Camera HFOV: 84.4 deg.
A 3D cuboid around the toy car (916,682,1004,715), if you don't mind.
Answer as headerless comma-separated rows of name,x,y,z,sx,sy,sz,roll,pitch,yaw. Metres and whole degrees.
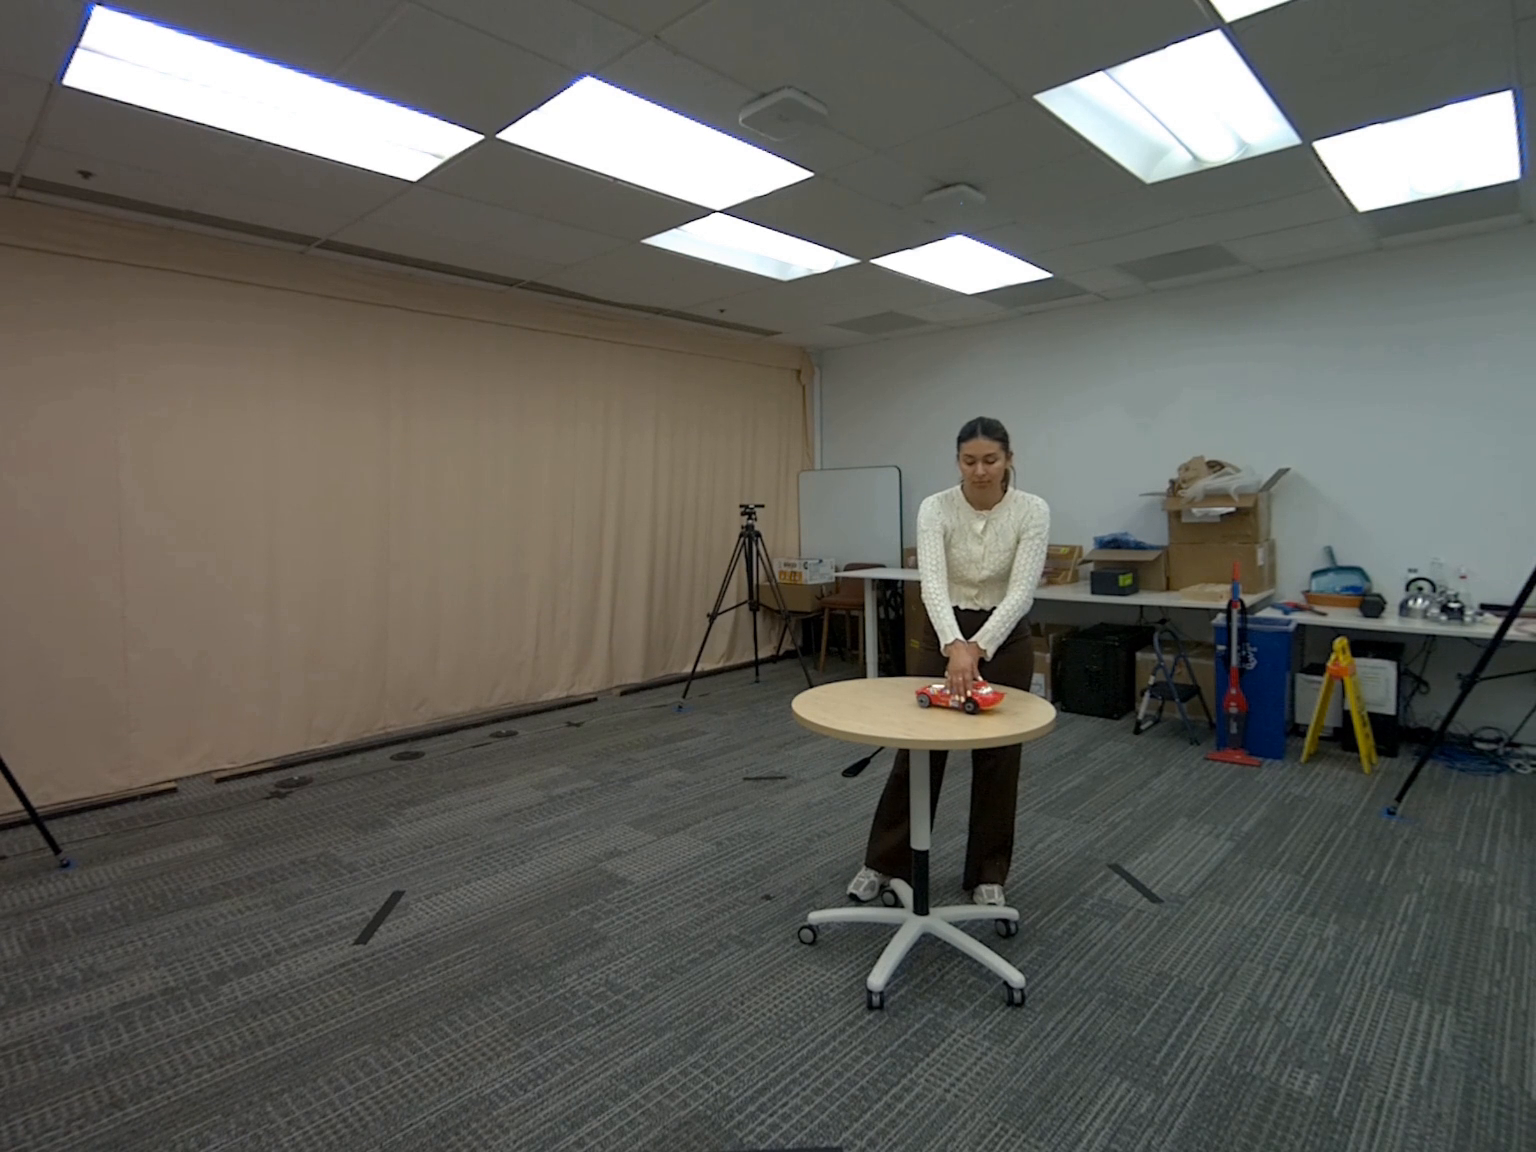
toy car,0.578,0.361,2.451,0.261,0.083,0.126,-11,-3,39
